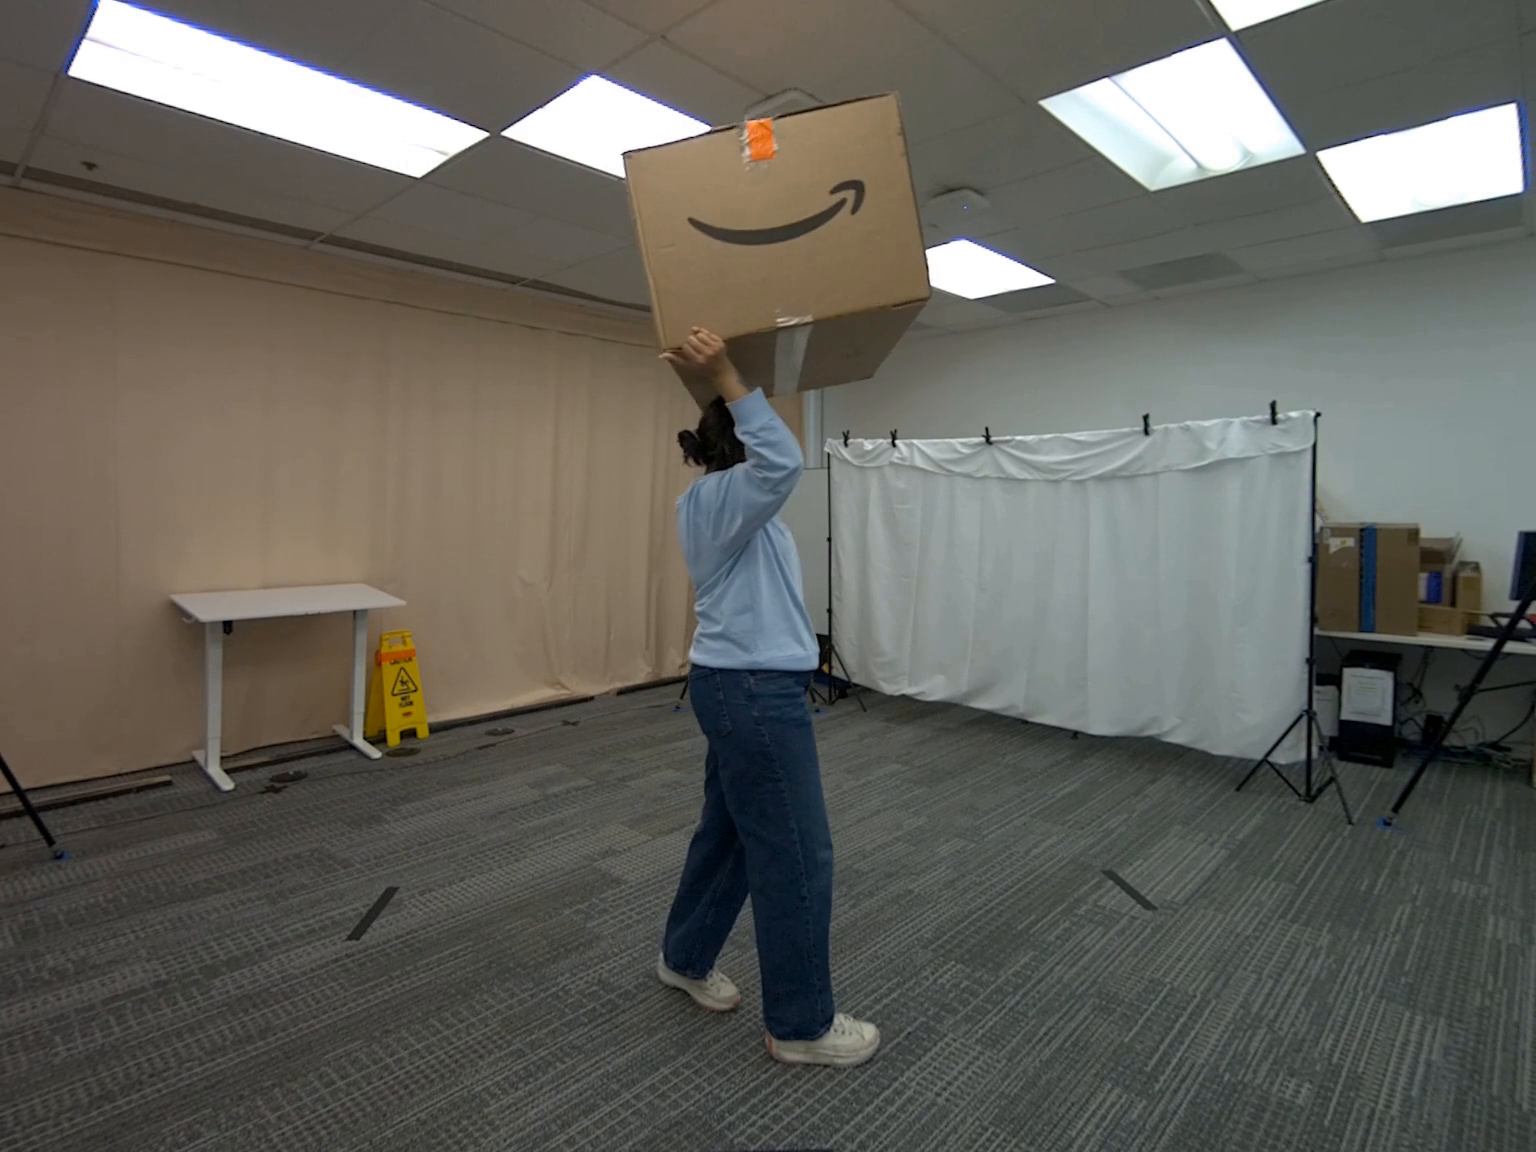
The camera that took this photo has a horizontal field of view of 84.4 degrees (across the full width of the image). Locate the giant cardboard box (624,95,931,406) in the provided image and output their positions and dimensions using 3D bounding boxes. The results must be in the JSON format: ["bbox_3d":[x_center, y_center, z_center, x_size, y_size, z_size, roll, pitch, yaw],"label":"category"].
[{"bbox_3d":[0.020,-0.766,2.230,0.579,0.425,1.025,-11,3,2],"label":"giant cardboard box"}]
